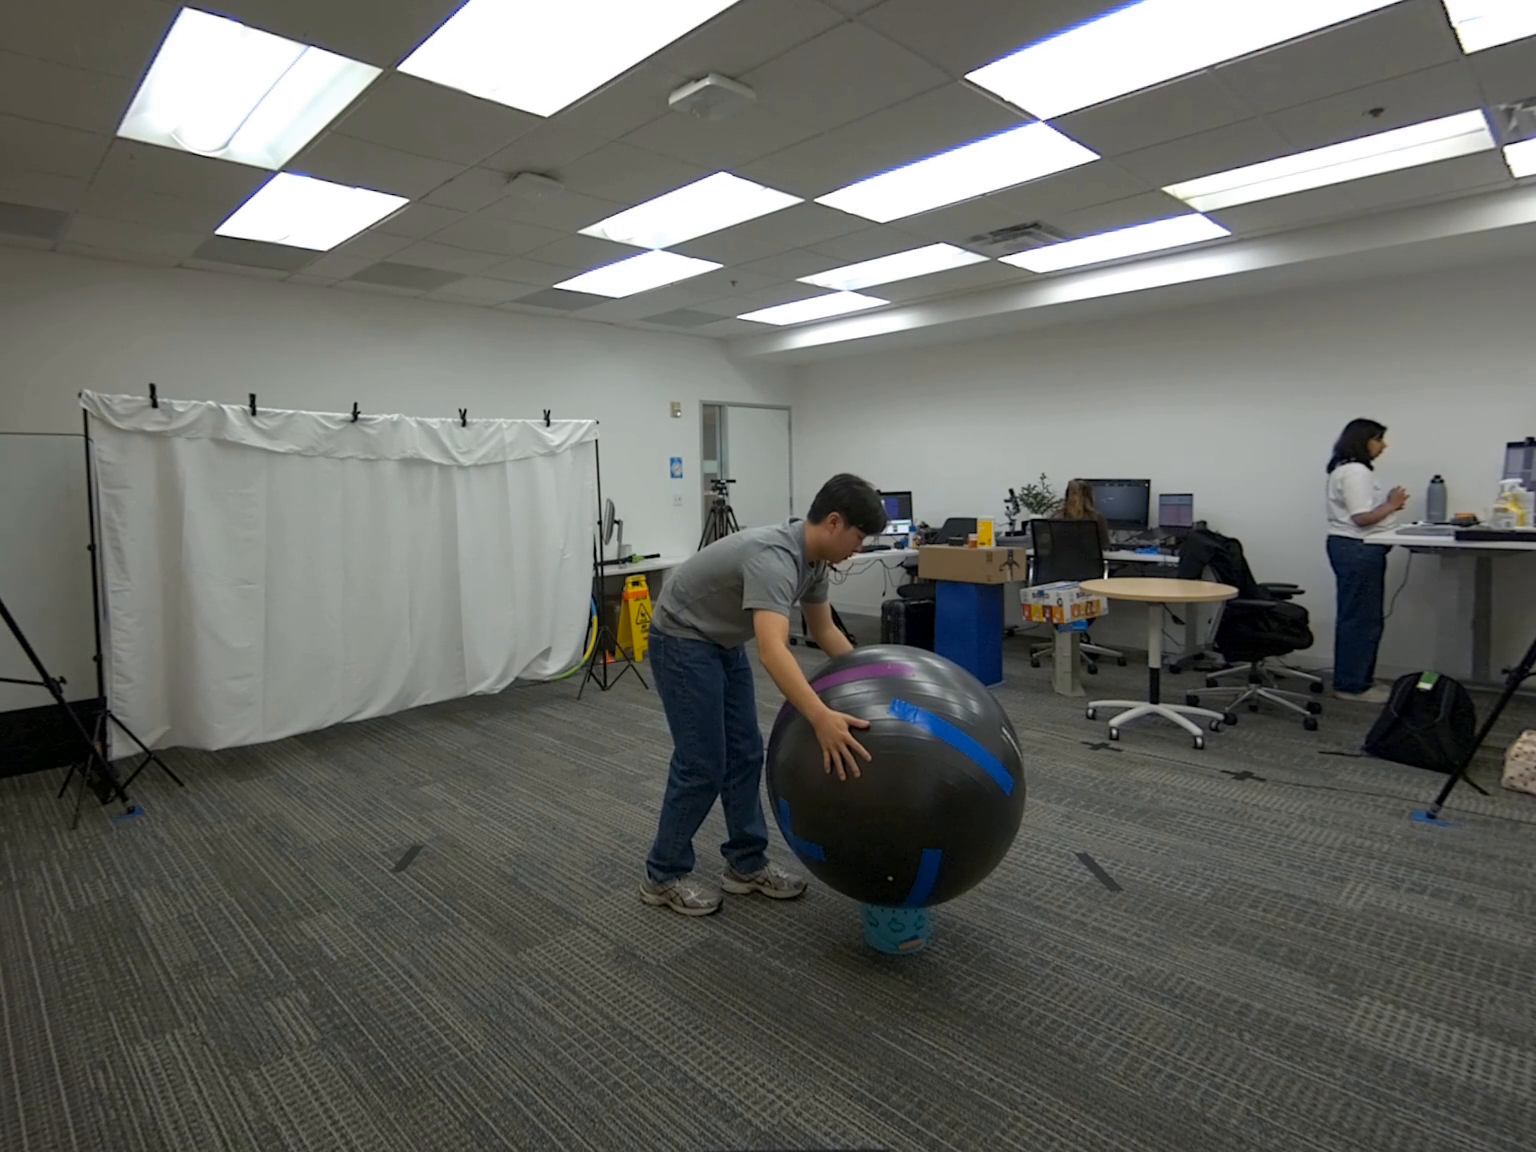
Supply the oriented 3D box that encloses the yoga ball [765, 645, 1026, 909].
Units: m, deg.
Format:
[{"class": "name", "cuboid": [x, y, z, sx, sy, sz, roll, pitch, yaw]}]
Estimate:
[{"class": "yoga ball", "cuboid": [0.377, 0.596, 2.557, 0.757, 0.755, 0.762, -1, 5, -2]}]
